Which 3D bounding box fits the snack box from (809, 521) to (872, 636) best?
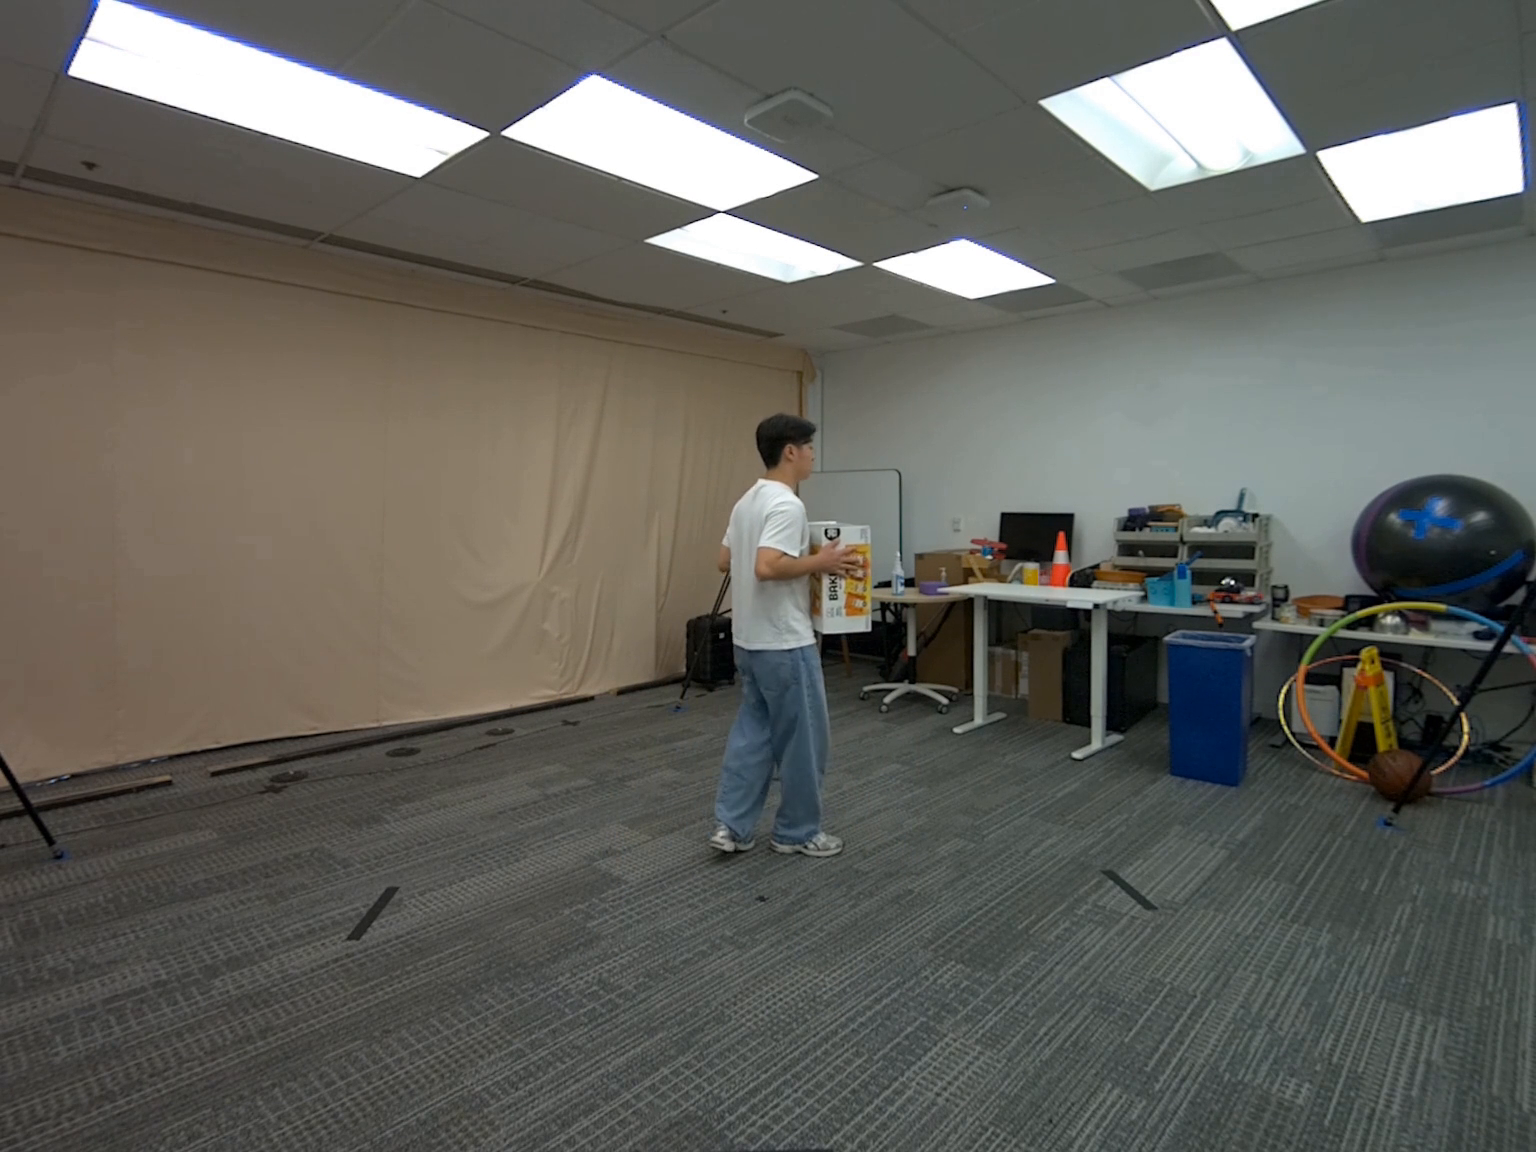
[{"bbox_3d":[0.255,-0.005,3.364,0.202,0.404,0.347,-3,6,-16],"label":"snack box"}]
